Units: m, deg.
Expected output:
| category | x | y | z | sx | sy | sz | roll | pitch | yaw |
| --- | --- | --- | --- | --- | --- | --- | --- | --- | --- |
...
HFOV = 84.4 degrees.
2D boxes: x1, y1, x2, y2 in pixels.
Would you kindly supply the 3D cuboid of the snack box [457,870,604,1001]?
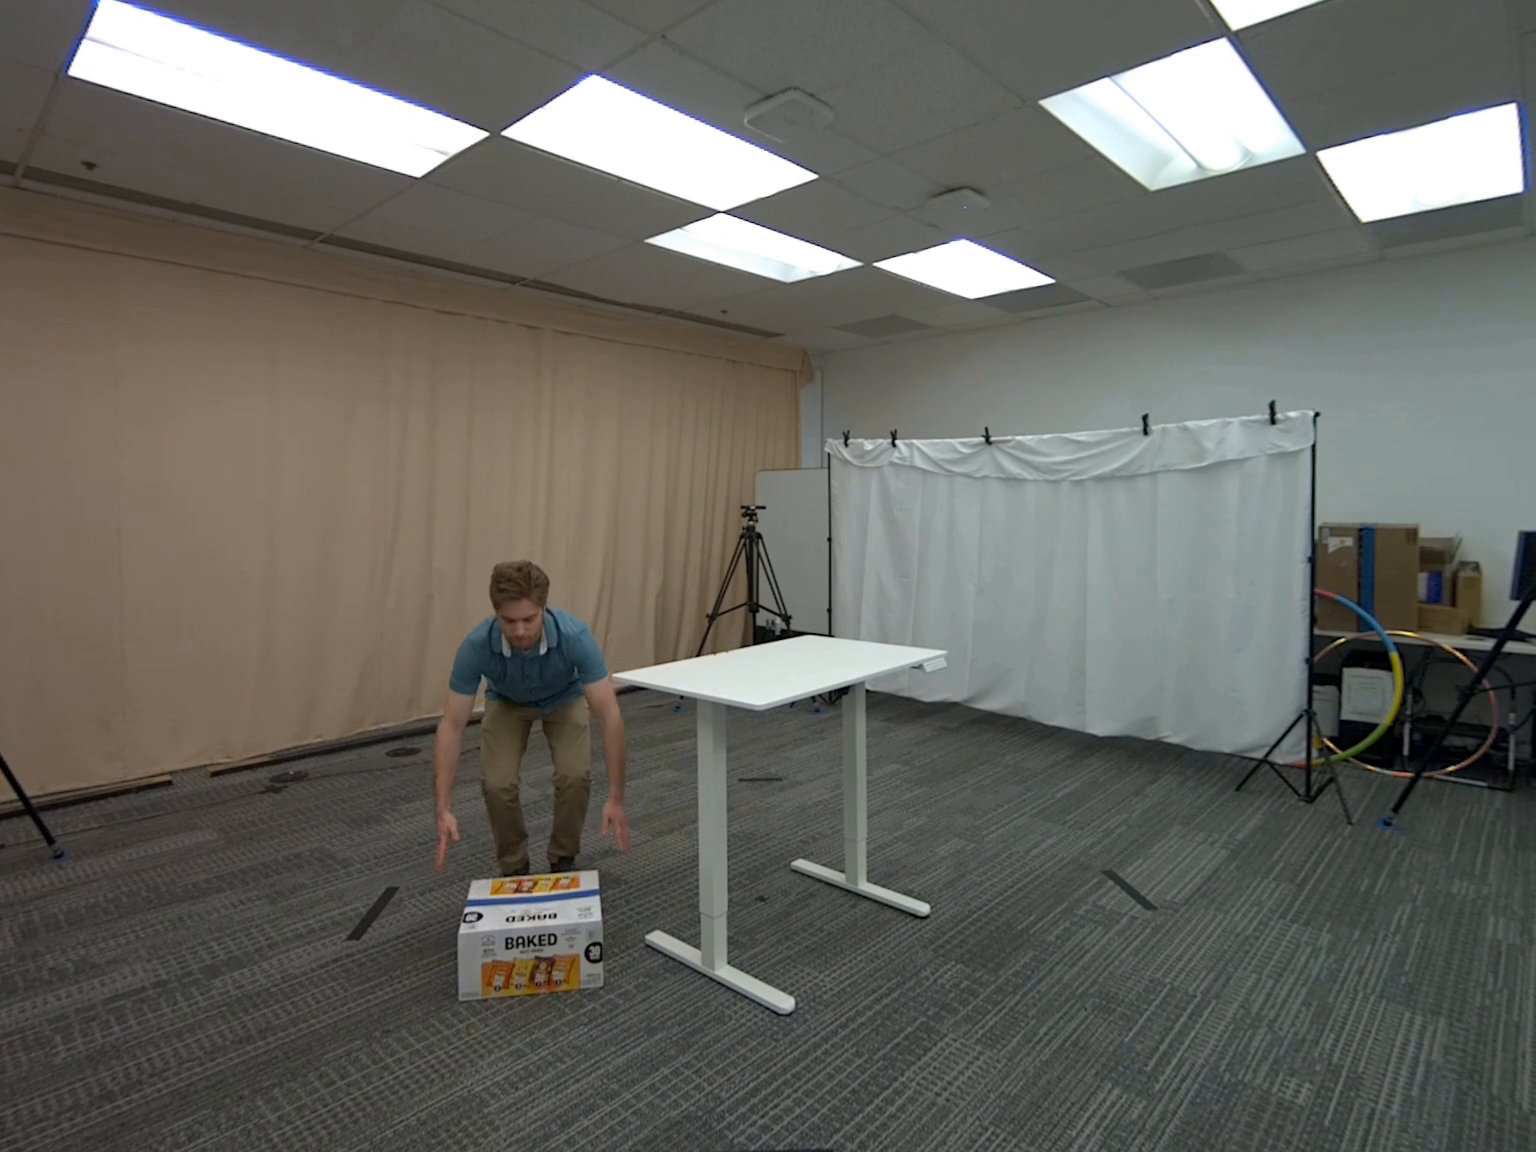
| category | x | y | z | sx | sy | sz | roll | pitch | yaw |
| --- | --- | --- | --- | --- | --- | --- | --- | --- | --- |
| snack box | -0.709 | 1.084 | 2.558 | 0.400 | 0.205 | 0.345 | -1 | 4 | -12 |
